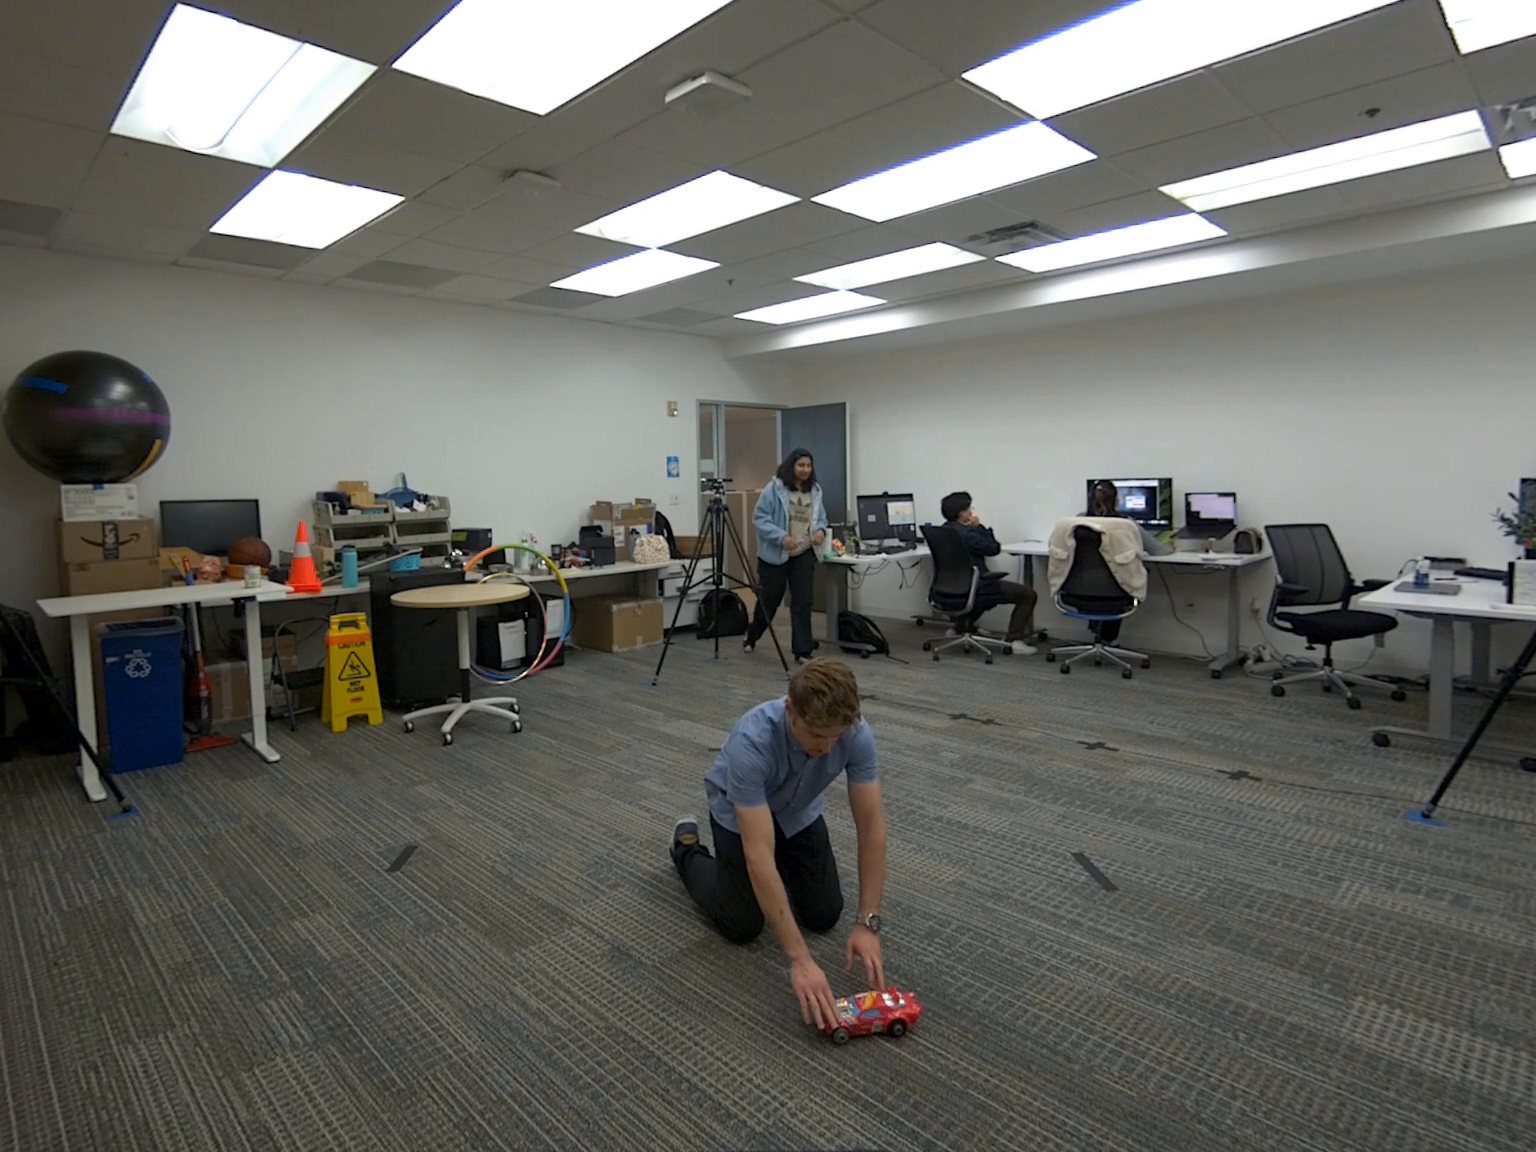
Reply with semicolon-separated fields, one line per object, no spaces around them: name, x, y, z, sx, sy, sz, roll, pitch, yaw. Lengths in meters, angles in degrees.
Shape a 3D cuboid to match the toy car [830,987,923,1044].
toy car;0.260;1.114;2.182;0.253;0.082;0.132;-15;7;-7
